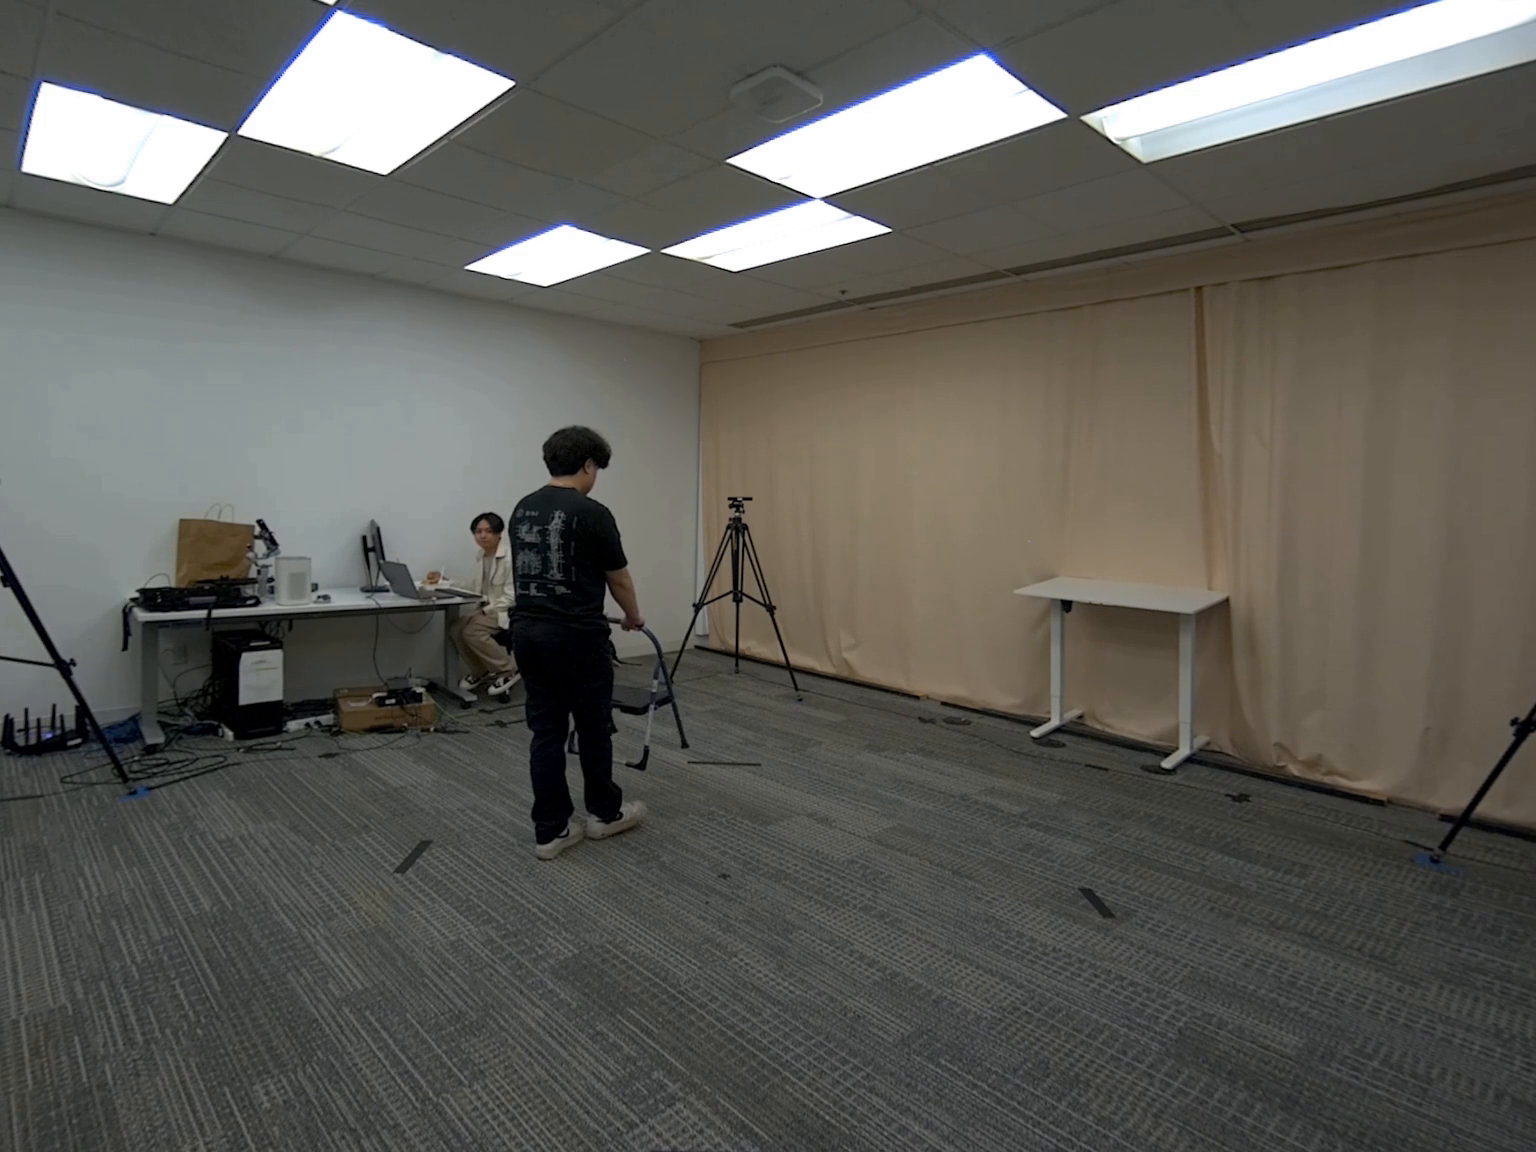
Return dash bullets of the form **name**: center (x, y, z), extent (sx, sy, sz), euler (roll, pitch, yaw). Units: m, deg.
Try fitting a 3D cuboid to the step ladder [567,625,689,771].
- **step ladder**: center (-0.625, 0.478, 3.684), extent (0.440, 0.603, 0.343), euler (4, 8, 29)
